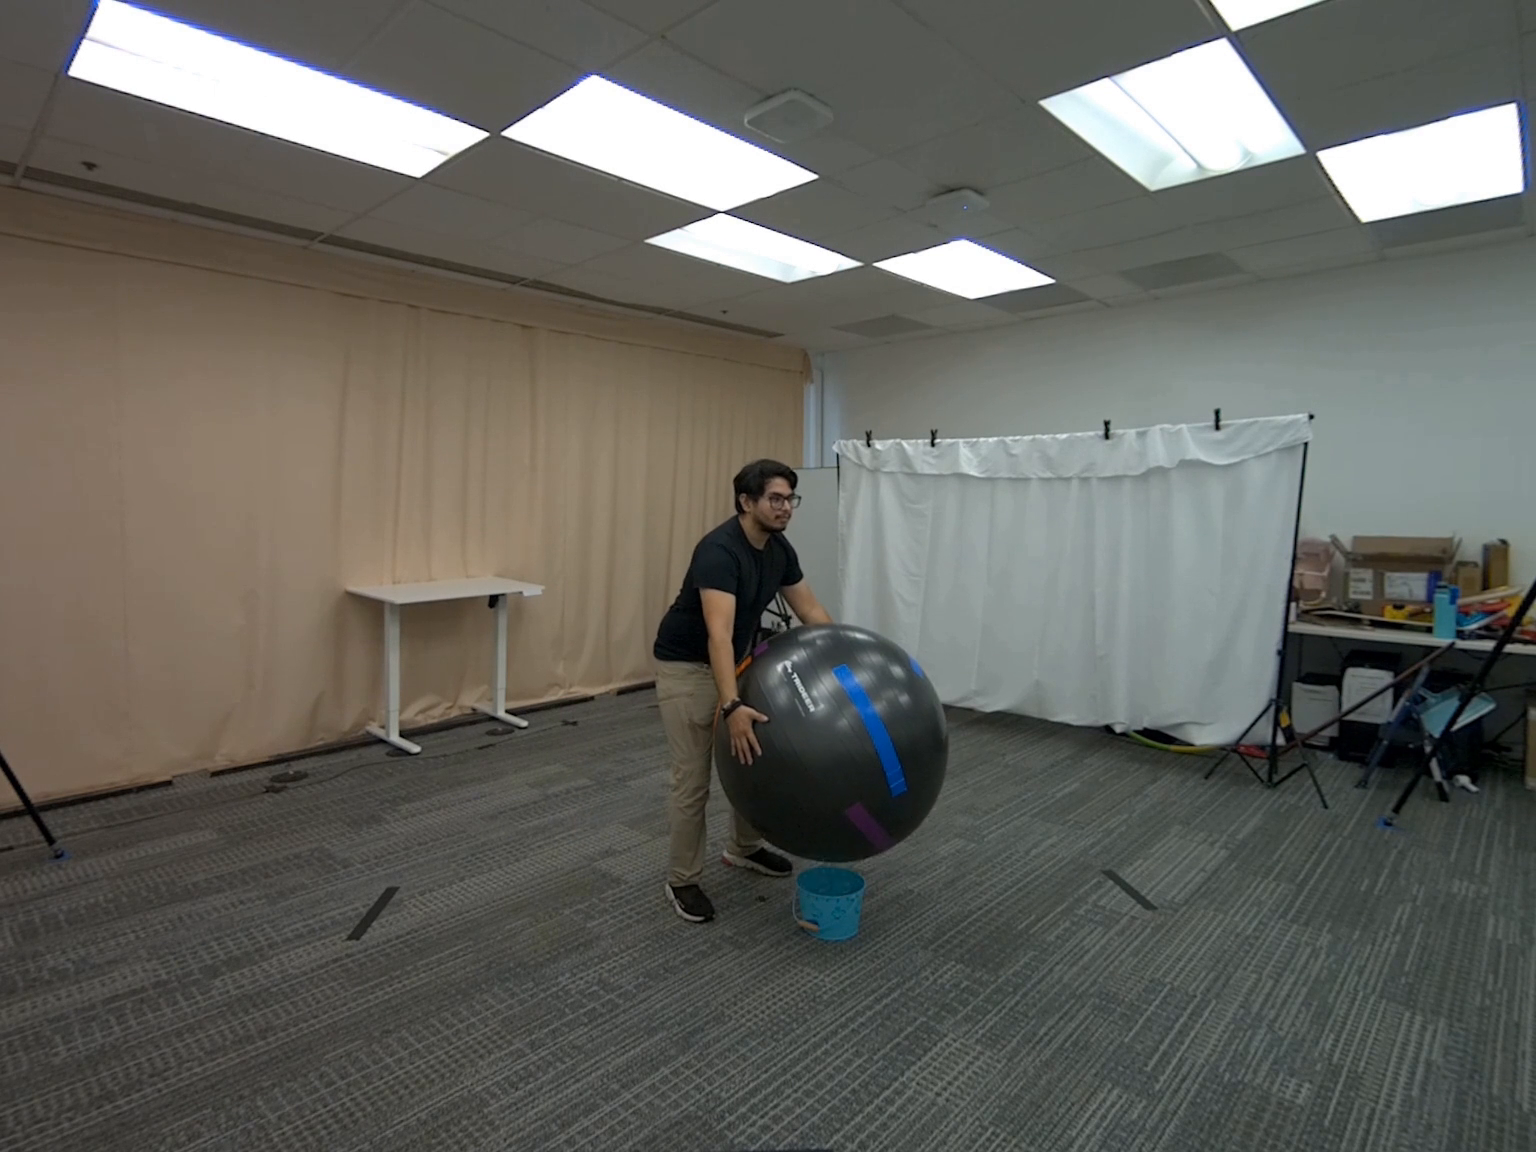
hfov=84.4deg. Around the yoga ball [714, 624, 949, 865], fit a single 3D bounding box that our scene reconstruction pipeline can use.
[{"bbox_3d":[0.207,0.537,2.753,0.757,0.756,0.761,0,4,-2],"label":"yoga ball"}]
